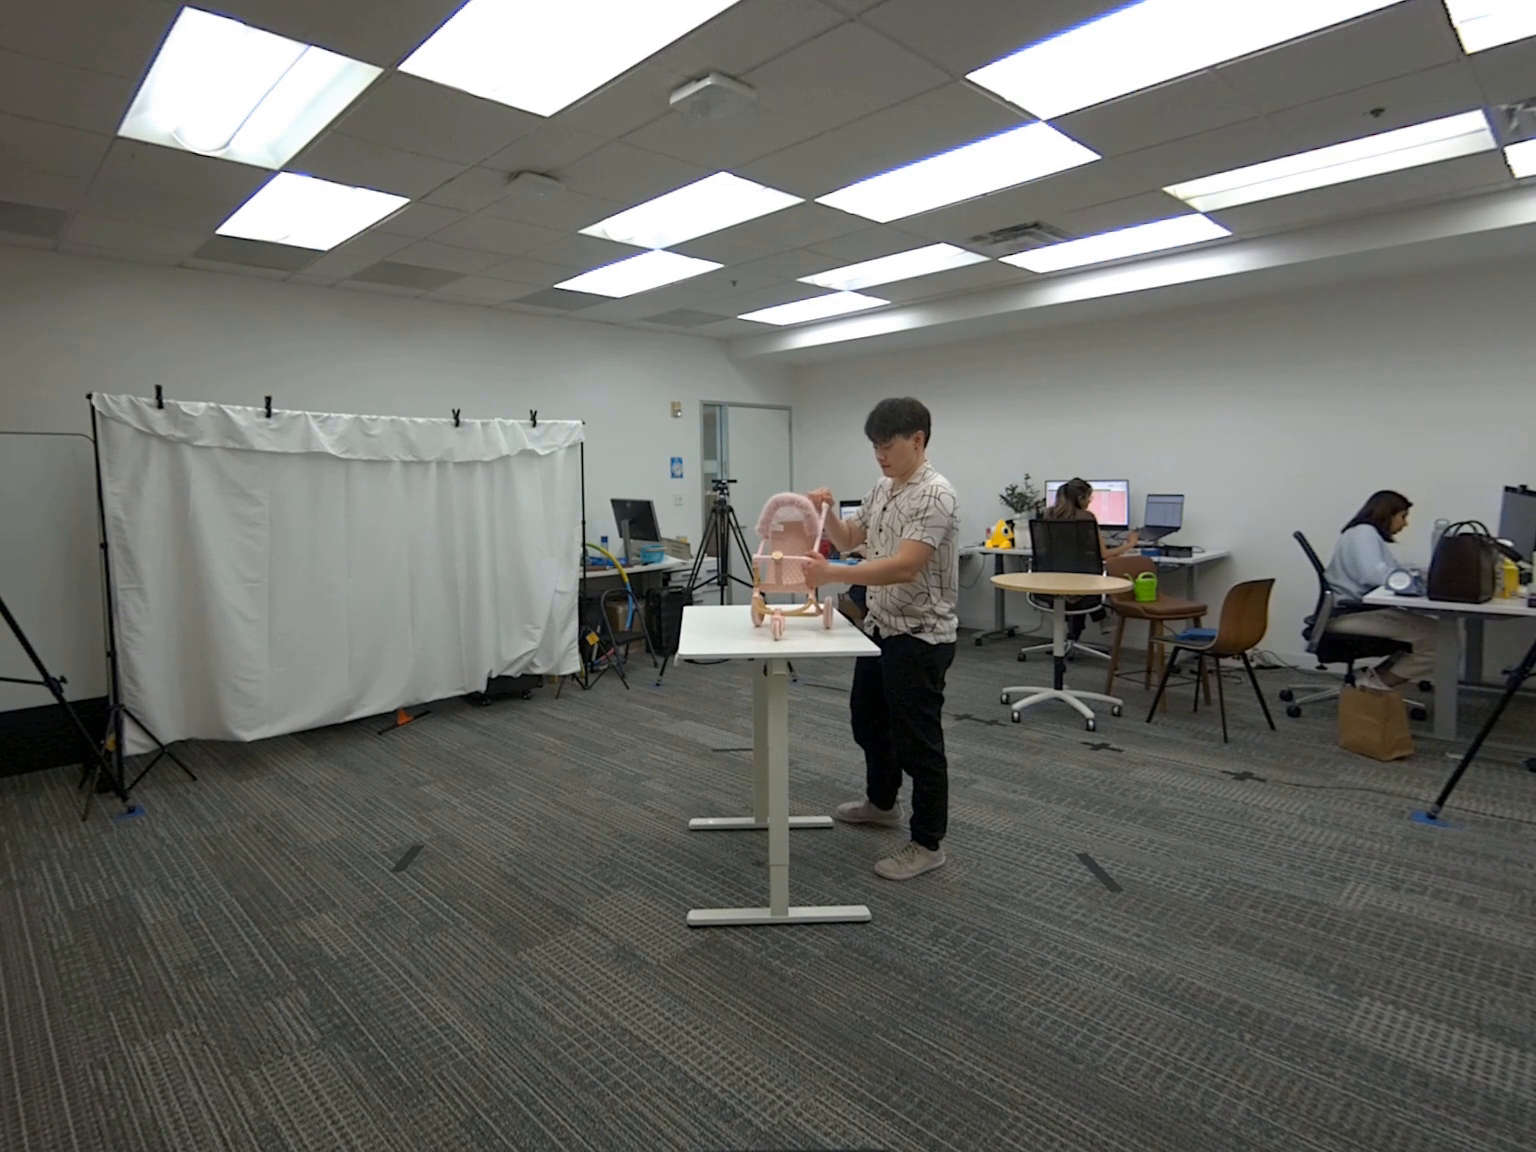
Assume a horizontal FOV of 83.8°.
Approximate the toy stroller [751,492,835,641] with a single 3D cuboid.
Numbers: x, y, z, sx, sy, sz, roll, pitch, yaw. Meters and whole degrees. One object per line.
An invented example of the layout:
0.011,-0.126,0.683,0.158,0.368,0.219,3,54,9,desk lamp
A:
0.073,-0.042,2.896,0.287,0.539,0.332,0,-9,19,toy stroller
